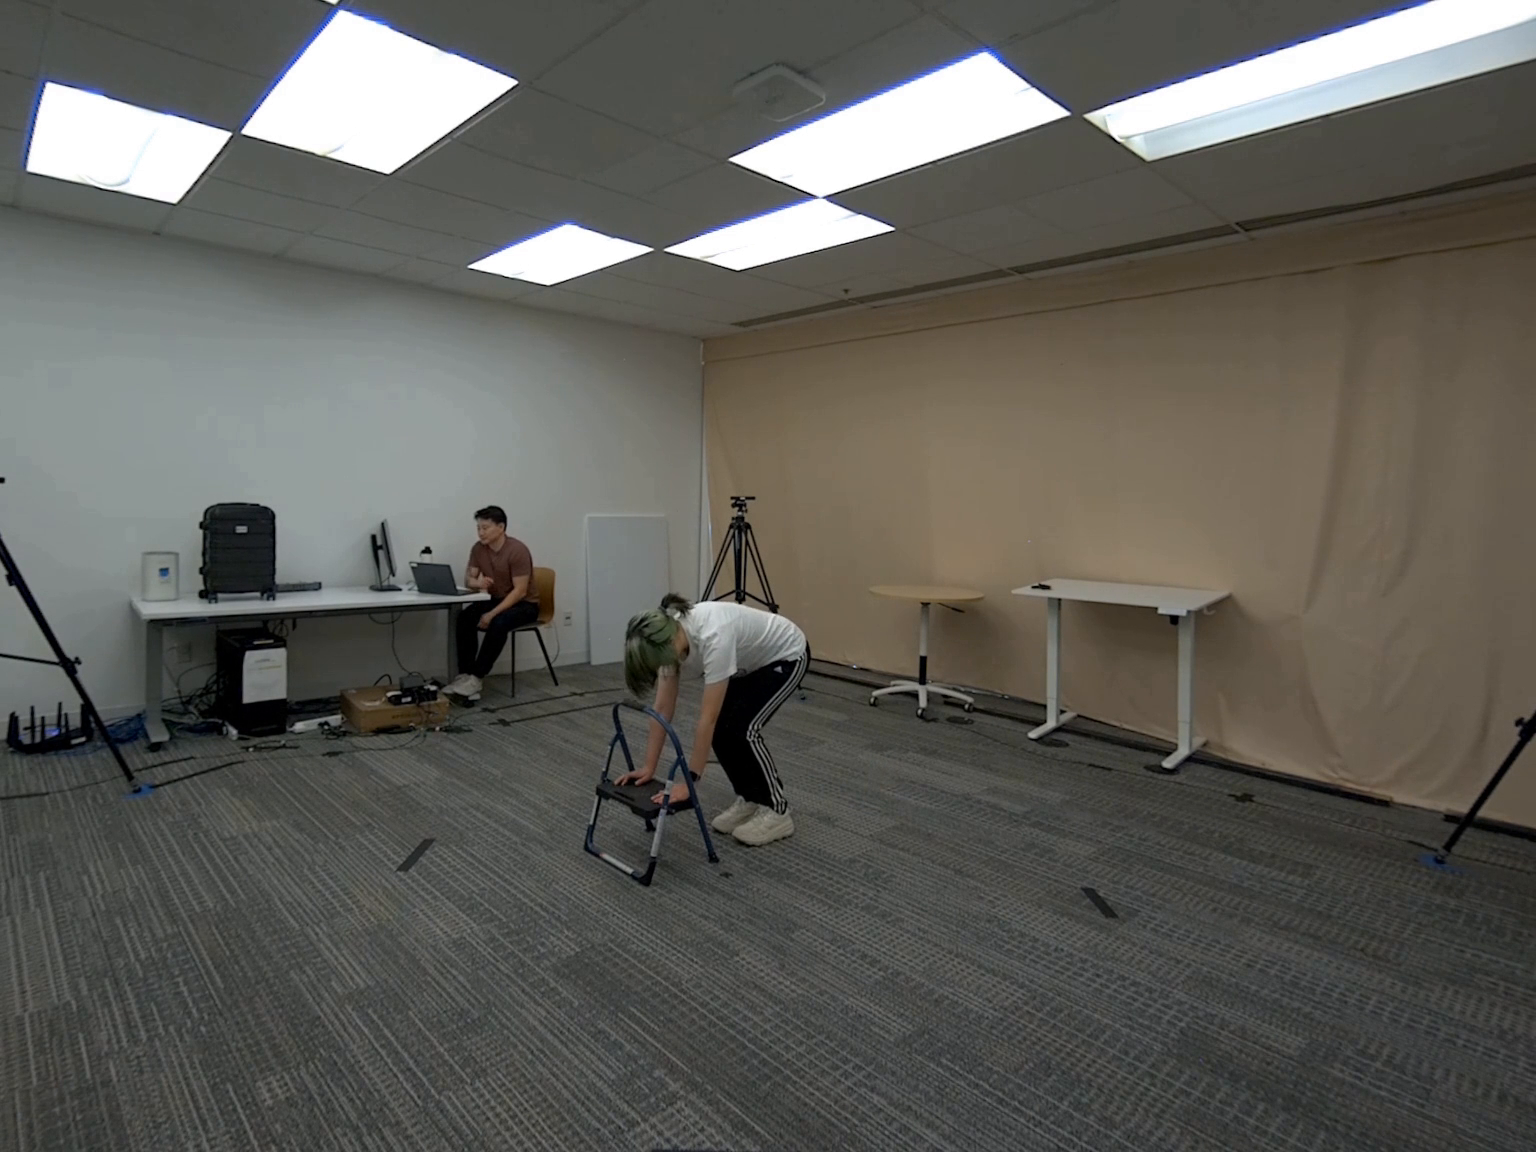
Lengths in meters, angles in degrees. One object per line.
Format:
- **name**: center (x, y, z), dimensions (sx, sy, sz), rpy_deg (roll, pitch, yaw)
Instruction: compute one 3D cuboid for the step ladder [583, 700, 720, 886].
- **step ladder**: center (-0.457, 0.782, 3.243), dimensions (0.341, 0.605, 0.442), rpy_deg (-1, 5, -44)
